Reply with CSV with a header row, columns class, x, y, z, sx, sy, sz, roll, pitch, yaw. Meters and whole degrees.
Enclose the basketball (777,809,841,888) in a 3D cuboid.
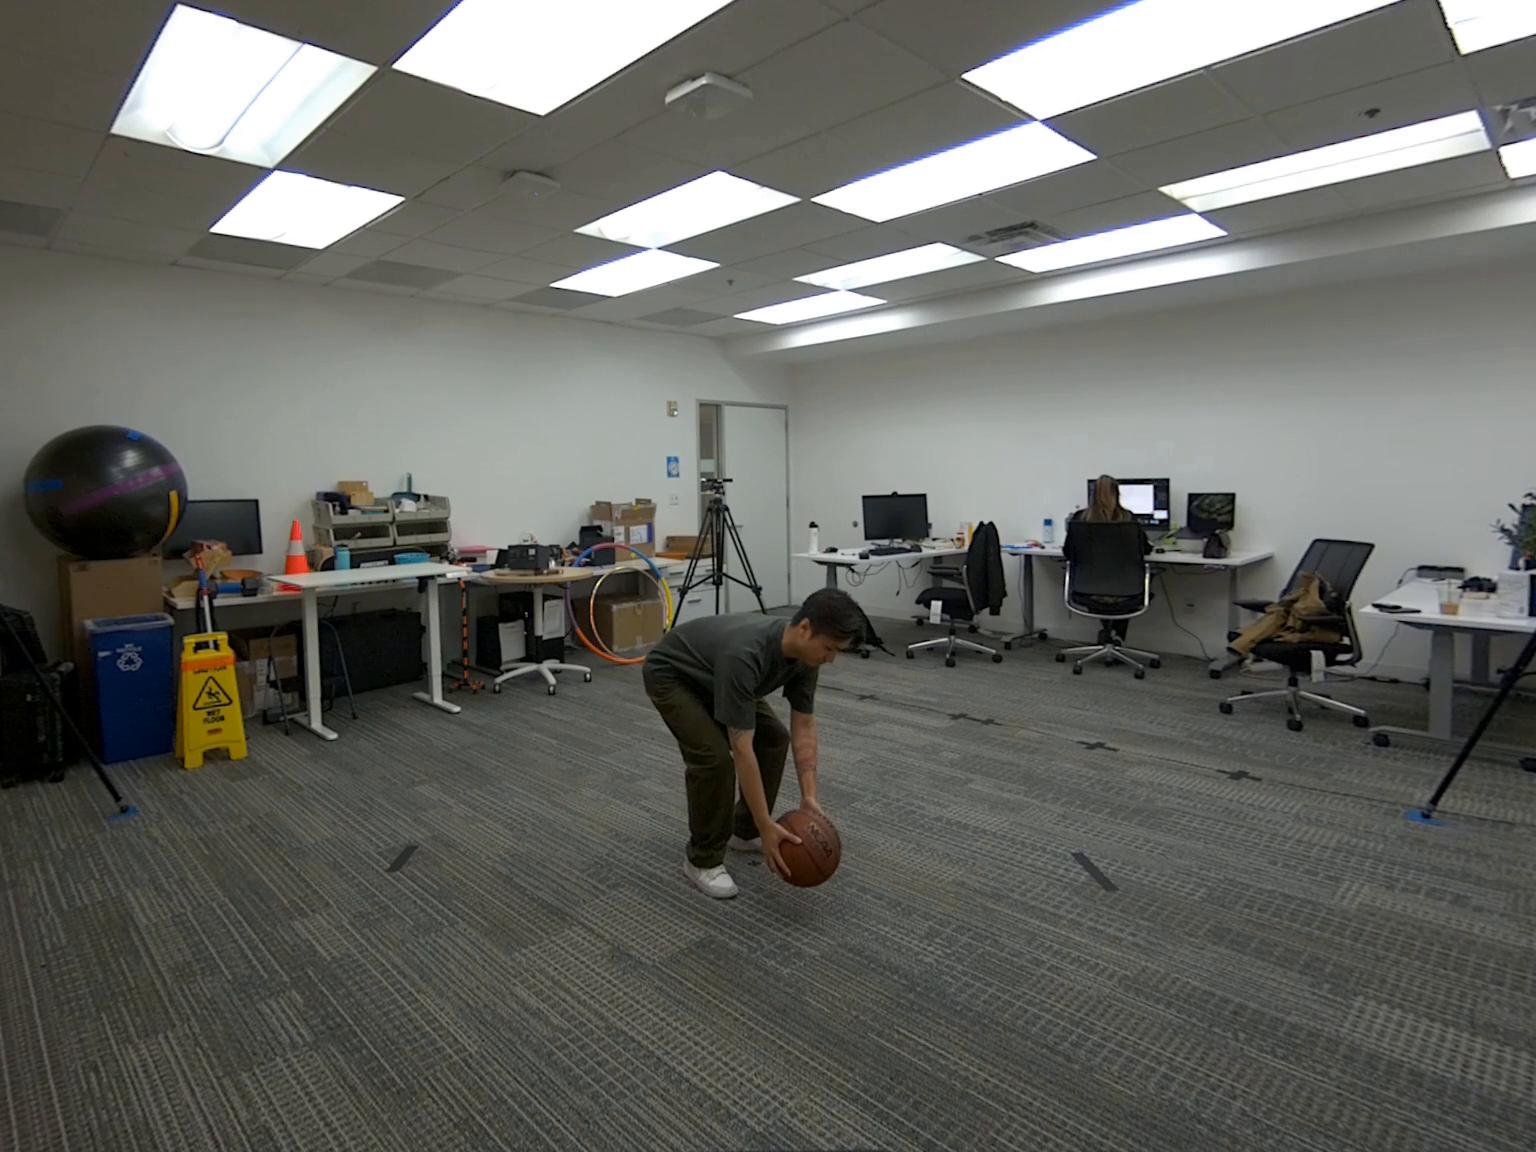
class,x,y,z,sx,sy,sz,roll,pitch,yaw
basketball,0.120,0.864,2.747,0.236,0.235,0.237,-1,5,-2
